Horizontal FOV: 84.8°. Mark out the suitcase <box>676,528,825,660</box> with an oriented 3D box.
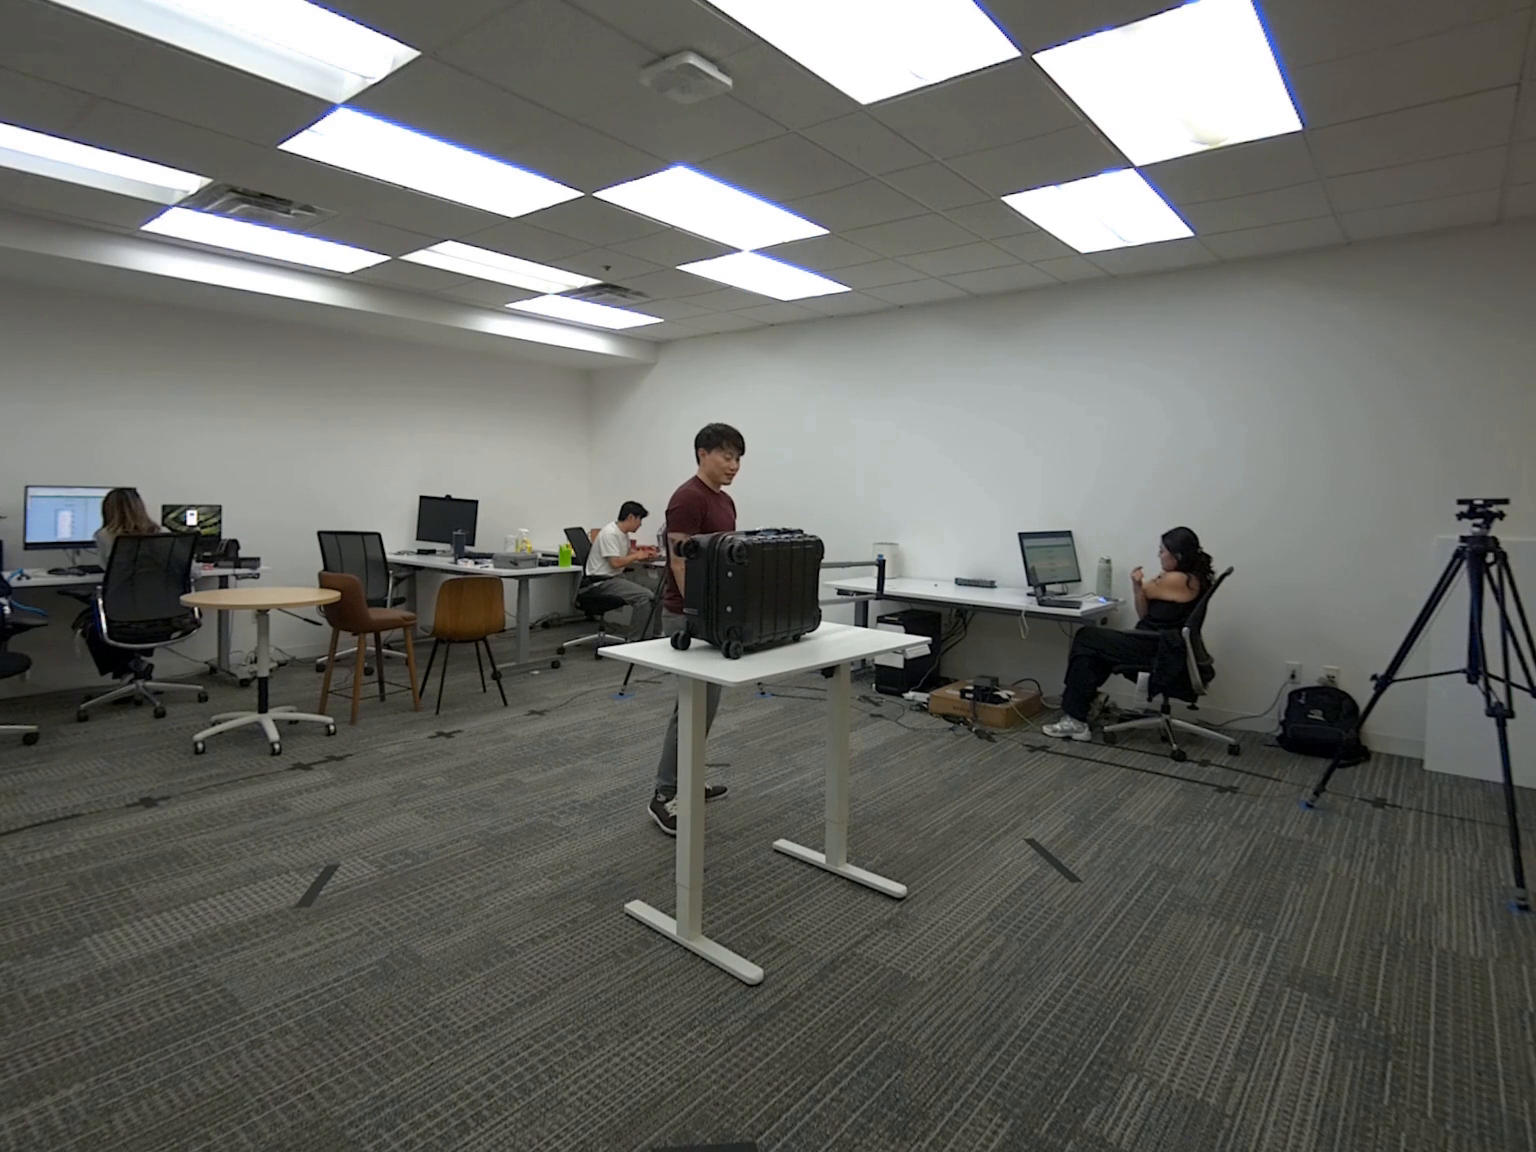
[{"bbox_3d":[0.066,0.024,2.965,0.265,0.383,0.952,2,4,34],"label":"suitcase"}]
